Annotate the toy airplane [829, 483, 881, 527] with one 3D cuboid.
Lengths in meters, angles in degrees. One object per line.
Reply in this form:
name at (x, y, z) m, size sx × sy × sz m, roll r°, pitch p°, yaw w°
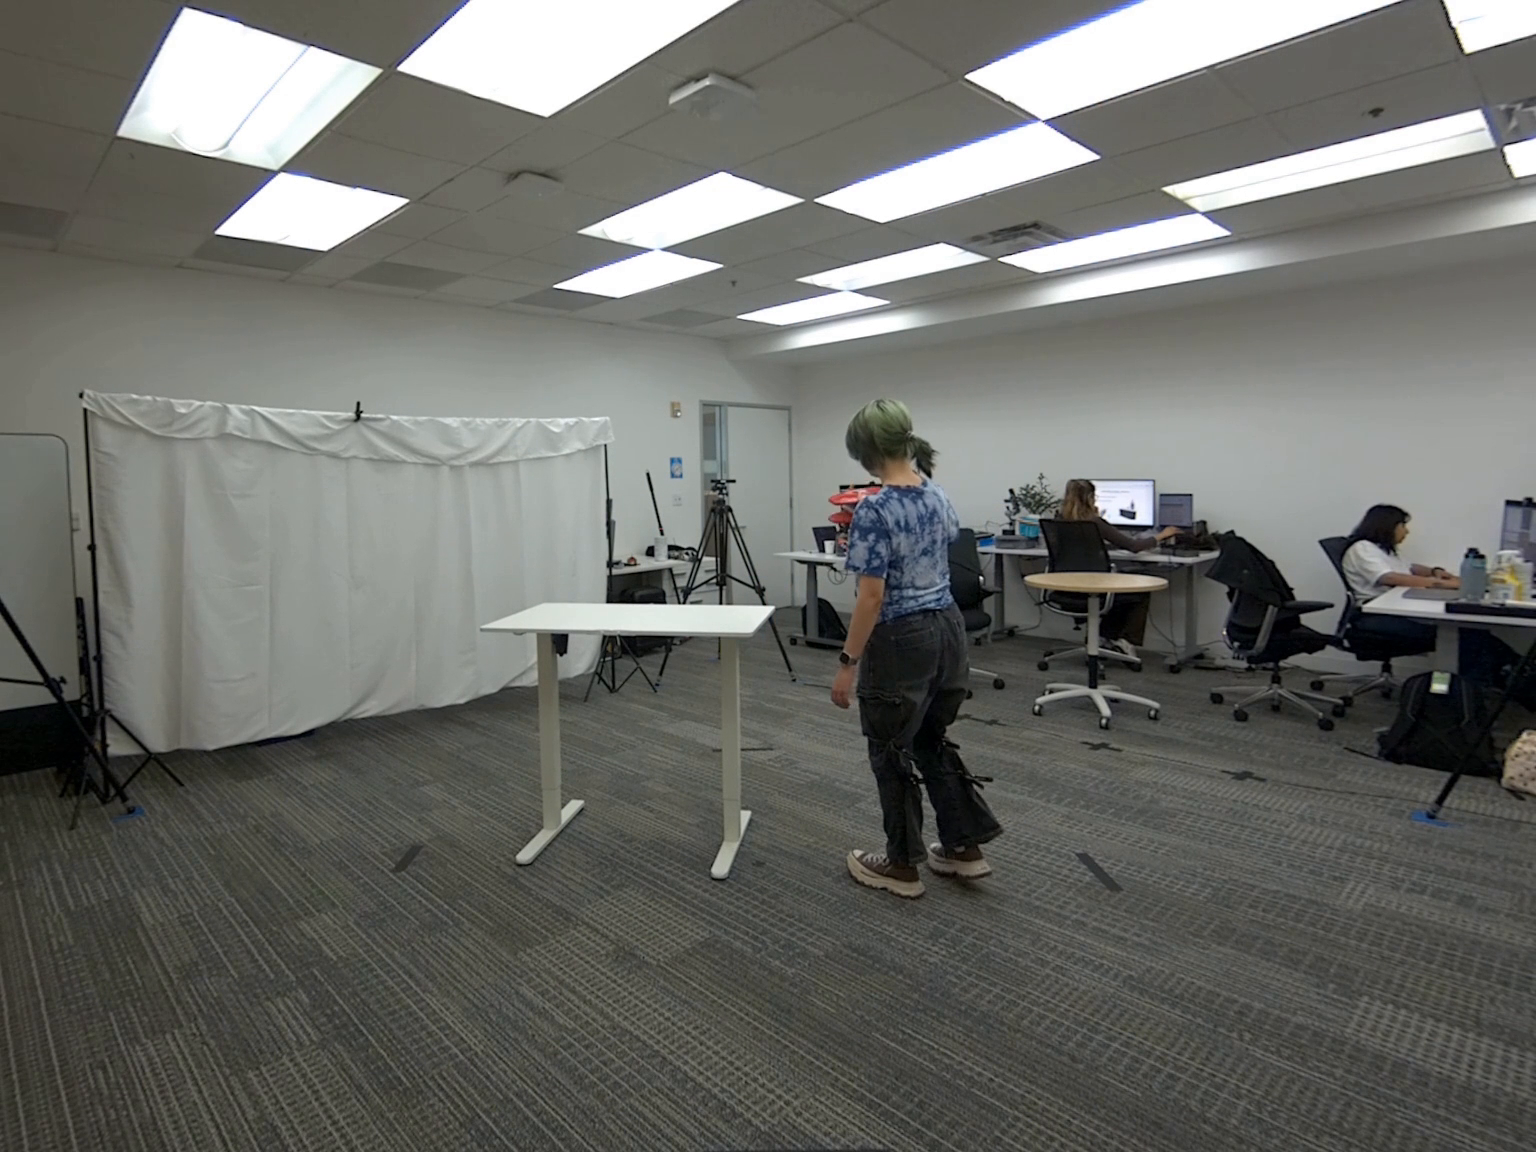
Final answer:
toy airplane at (0.399, -0.254, 3.381) m, size 0.267 × 0.154 × 0.247 m, roll 4°, pitch 18°, yaw 37°
